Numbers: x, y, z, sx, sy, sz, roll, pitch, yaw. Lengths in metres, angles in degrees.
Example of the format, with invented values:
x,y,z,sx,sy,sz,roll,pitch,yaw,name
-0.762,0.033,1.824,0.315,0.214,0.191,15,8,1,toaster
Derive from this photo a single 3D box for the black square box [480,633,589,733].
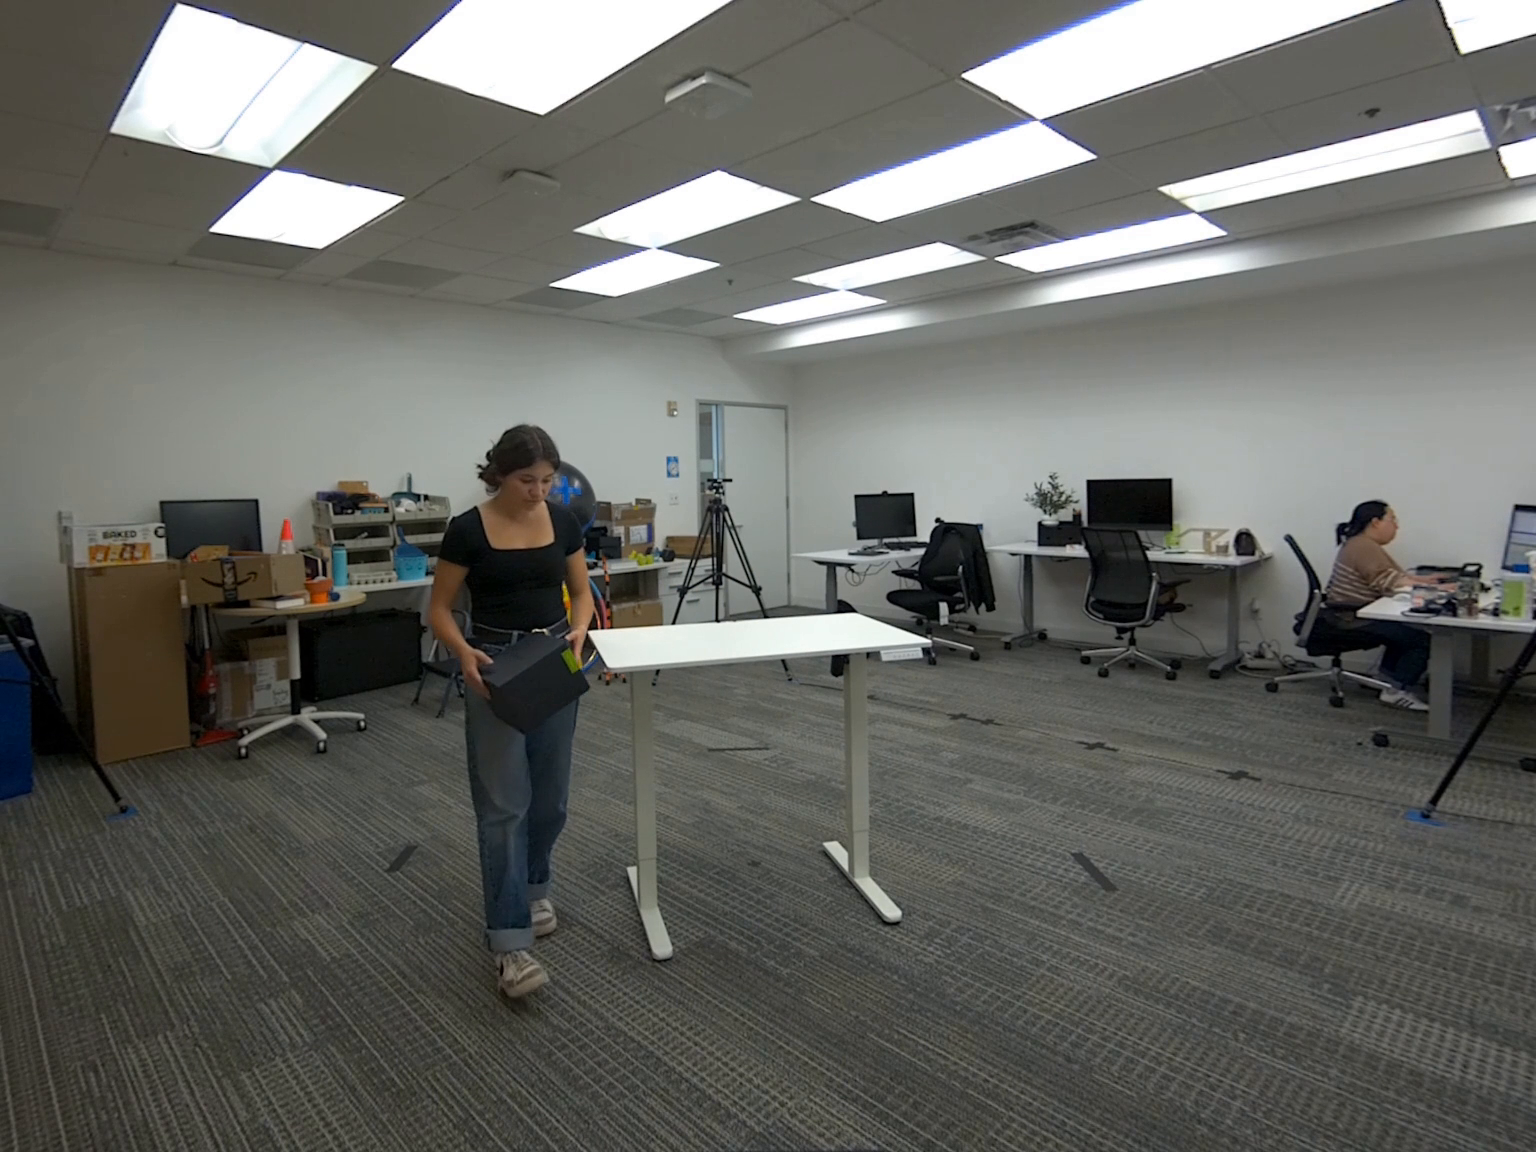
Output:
x,y,z,sx,sy,sz,roll,pitch,yaw,name
-0.646,0.285,2.332,0.215,0.153,0.234,-35,21,-28,black square box
